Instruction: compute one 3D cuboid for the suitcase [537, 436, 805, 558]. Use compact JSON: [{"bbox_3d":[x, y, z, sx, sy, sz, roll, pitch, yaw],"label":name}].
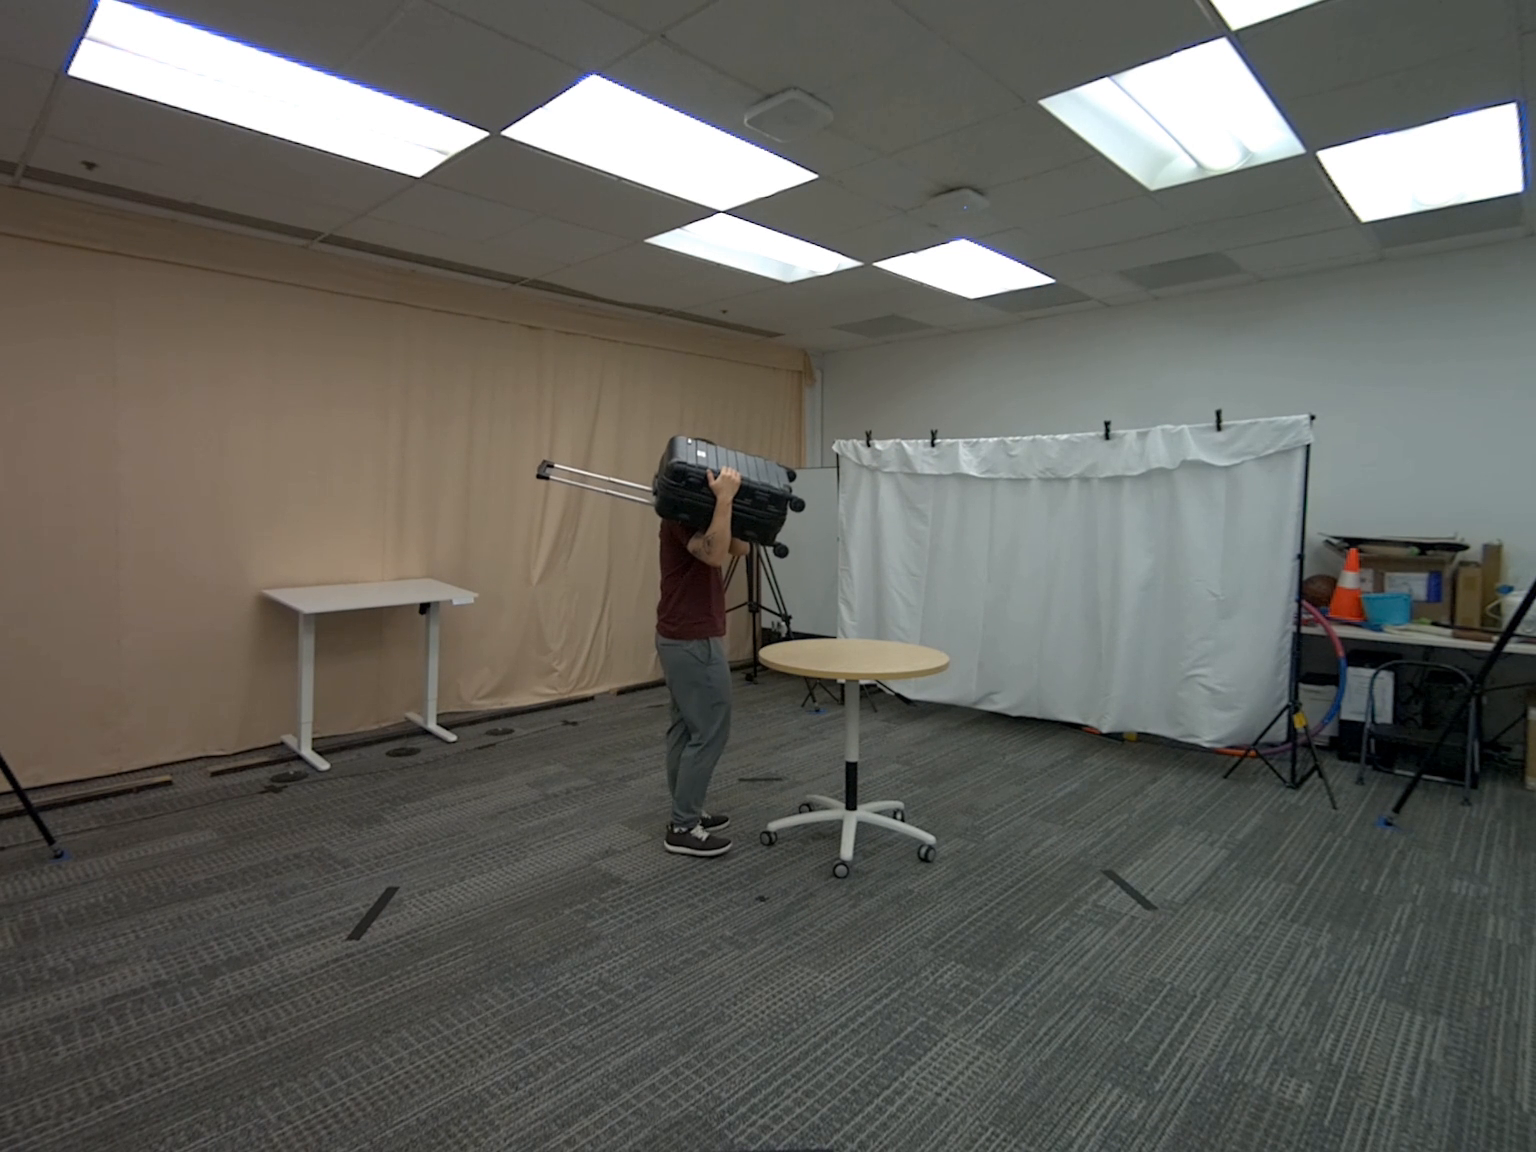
[{"bbox_3d":[-0.352,-0.384,3.209,0.968,0.256,0.390,16,25,-9],"label":"suitcase"}]
